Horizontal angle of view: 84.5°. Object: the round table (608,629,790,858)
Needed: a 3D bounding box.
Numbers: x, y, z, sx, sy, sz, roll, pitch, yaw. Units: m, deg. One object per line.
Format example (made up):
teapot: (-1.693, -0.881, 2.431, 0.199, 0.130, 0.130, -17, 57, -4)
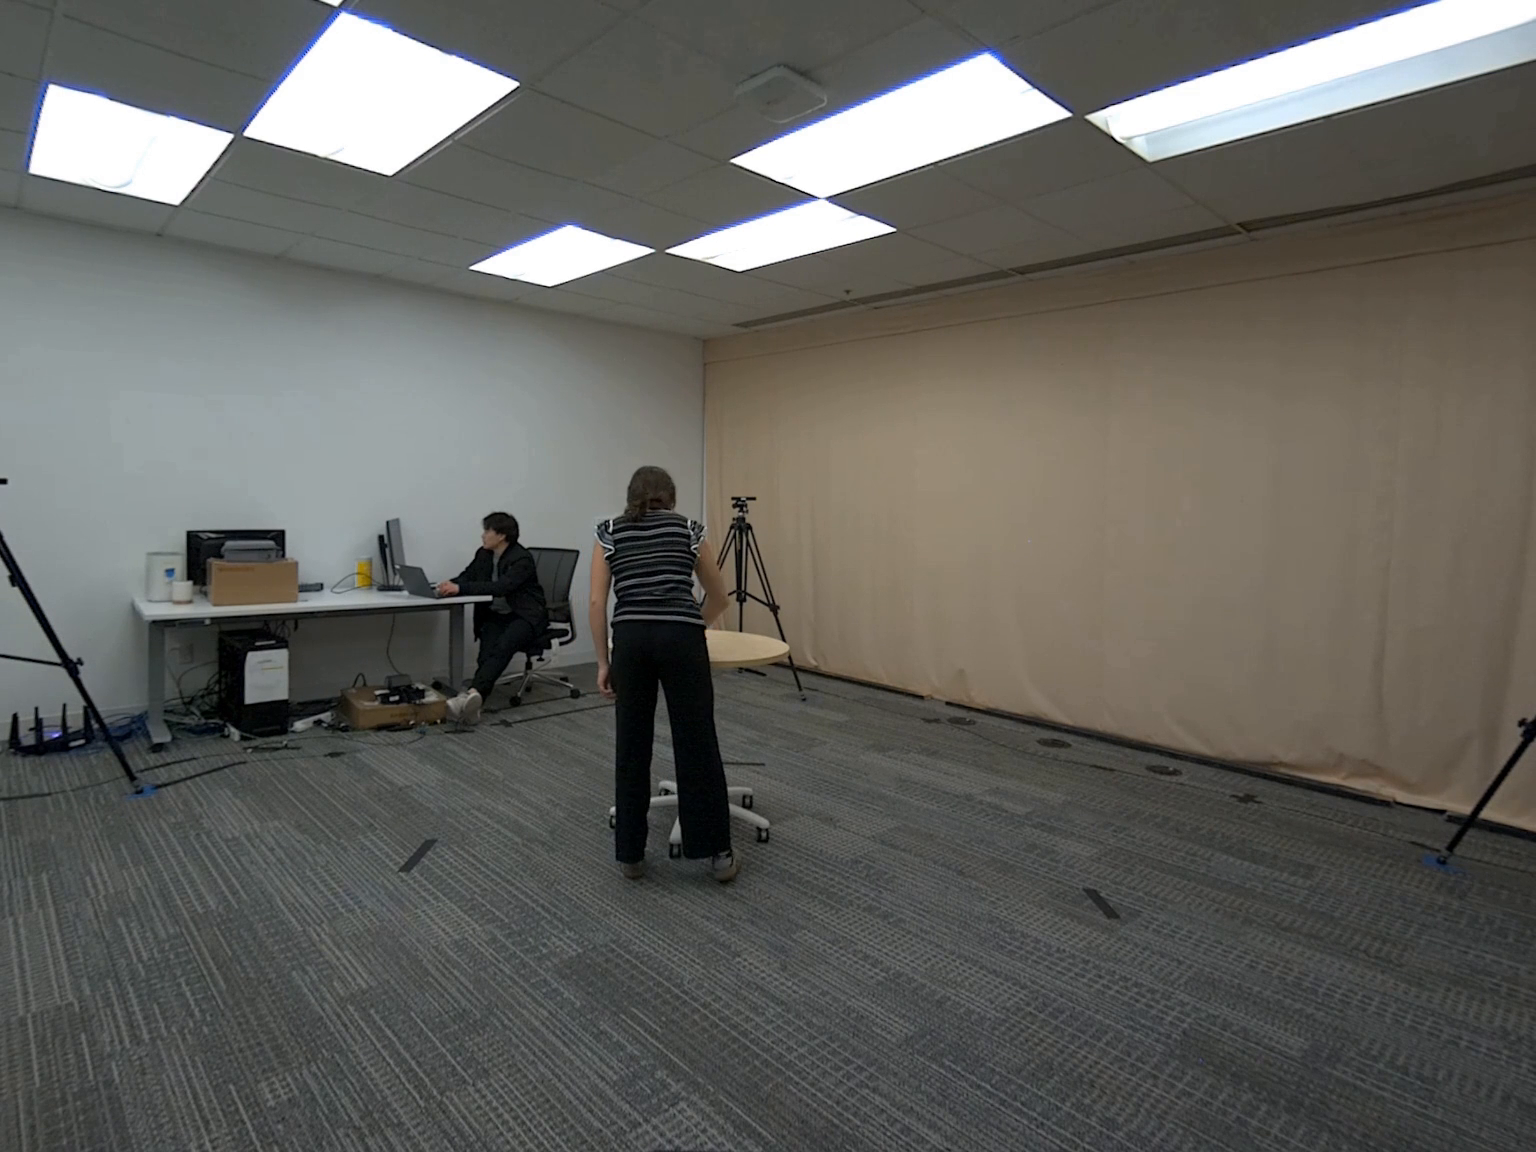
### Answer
round table: (-0.313, 0.677, 3.554, 0.763, 0.792, 0.766, 2, 4, -2)
